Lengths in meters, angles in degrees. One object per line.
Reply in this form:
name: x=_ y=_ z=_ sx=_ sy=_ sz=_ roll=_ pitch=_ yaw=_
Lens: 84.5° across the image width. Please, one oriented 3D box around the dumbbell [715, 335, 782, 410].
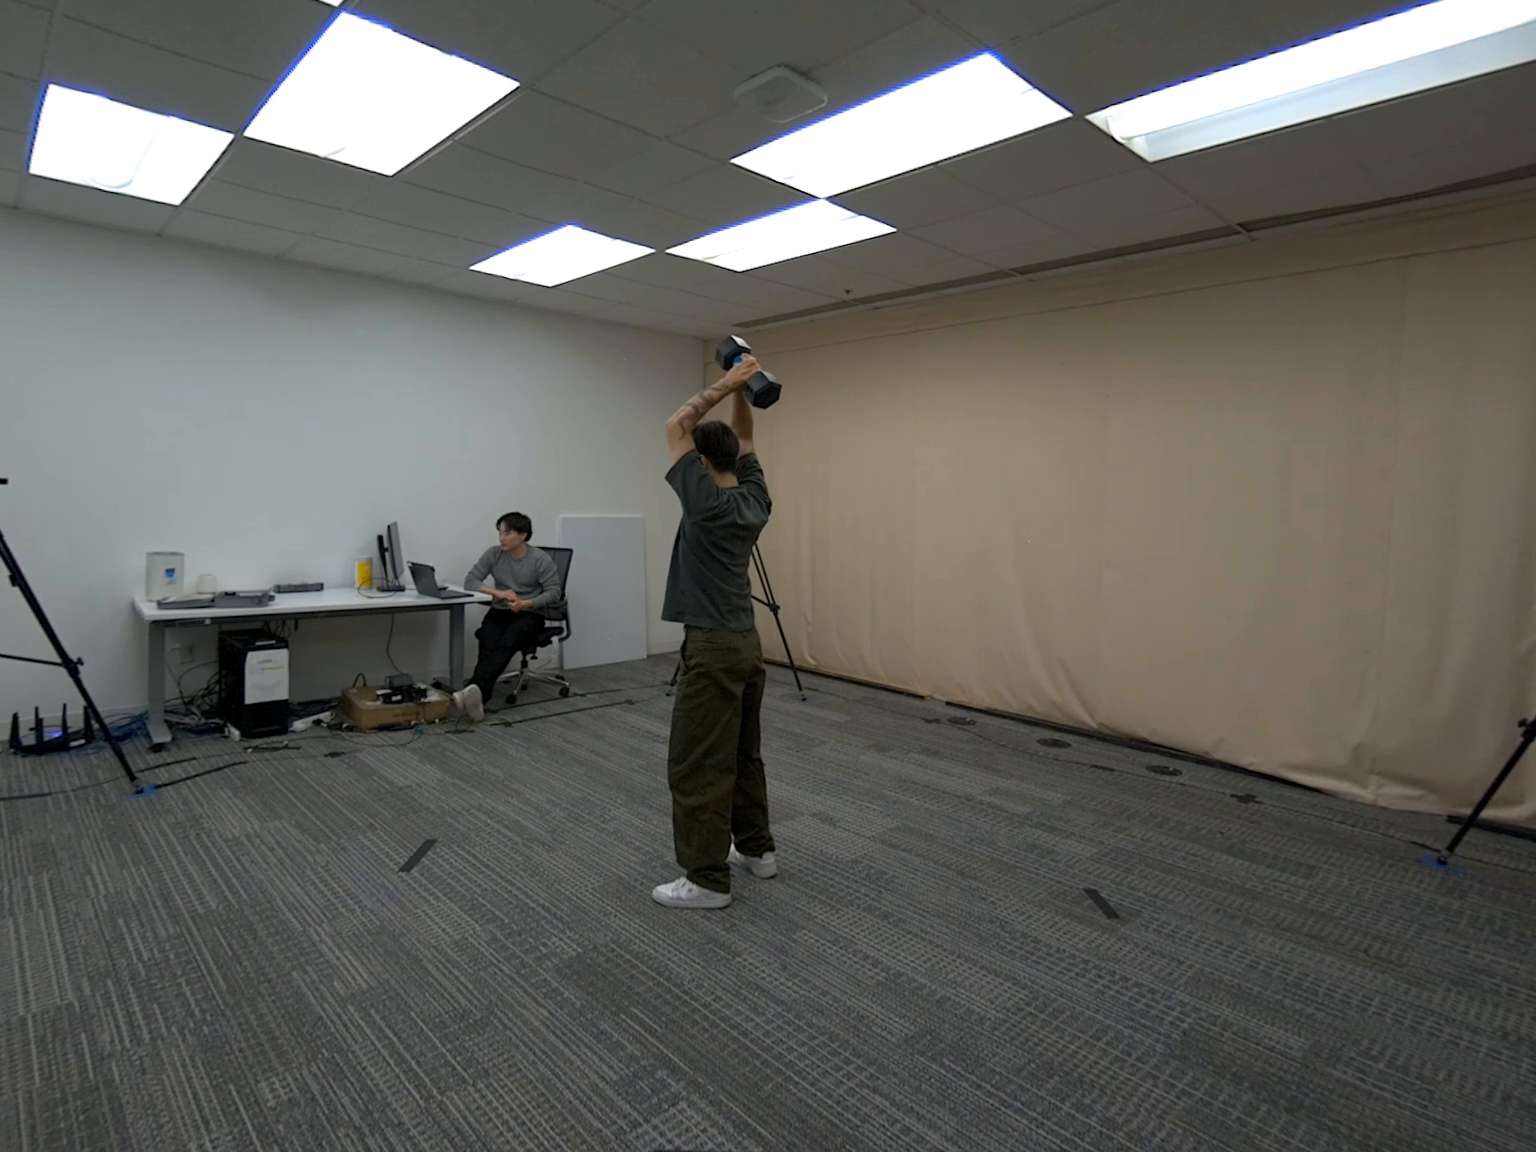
dumbbell: x=-0.084 y=-0.704 z=2.902 sx=0.108 sy=0.120 sz=0.302 roll=-22 pitch=56 yaw=-20
